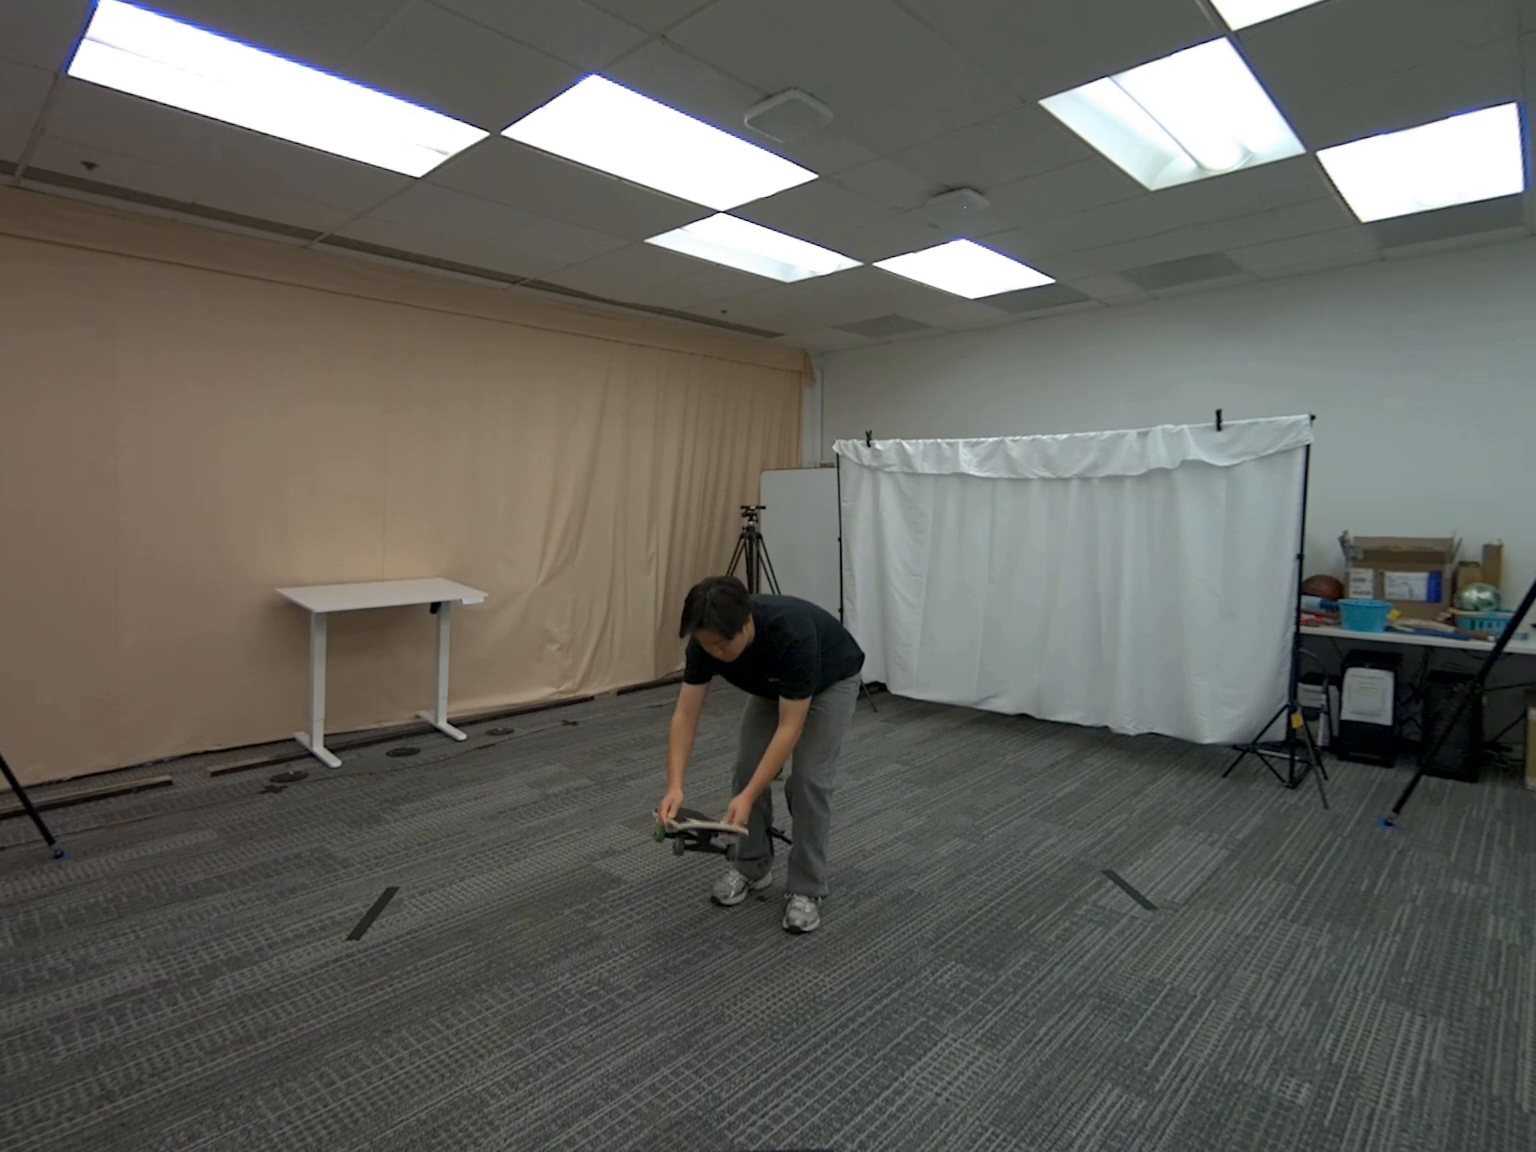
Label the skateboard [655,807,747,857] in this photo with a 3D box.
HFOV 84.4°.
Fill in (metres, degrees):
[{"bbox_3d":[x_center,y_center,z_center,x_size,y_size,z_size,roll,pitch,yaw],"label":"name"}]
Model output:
[{"bbox_3d":[-0.219,0.787,2.600,0.192,0.111,0.787,9,-14,-10],"label":"skateboard"}]
